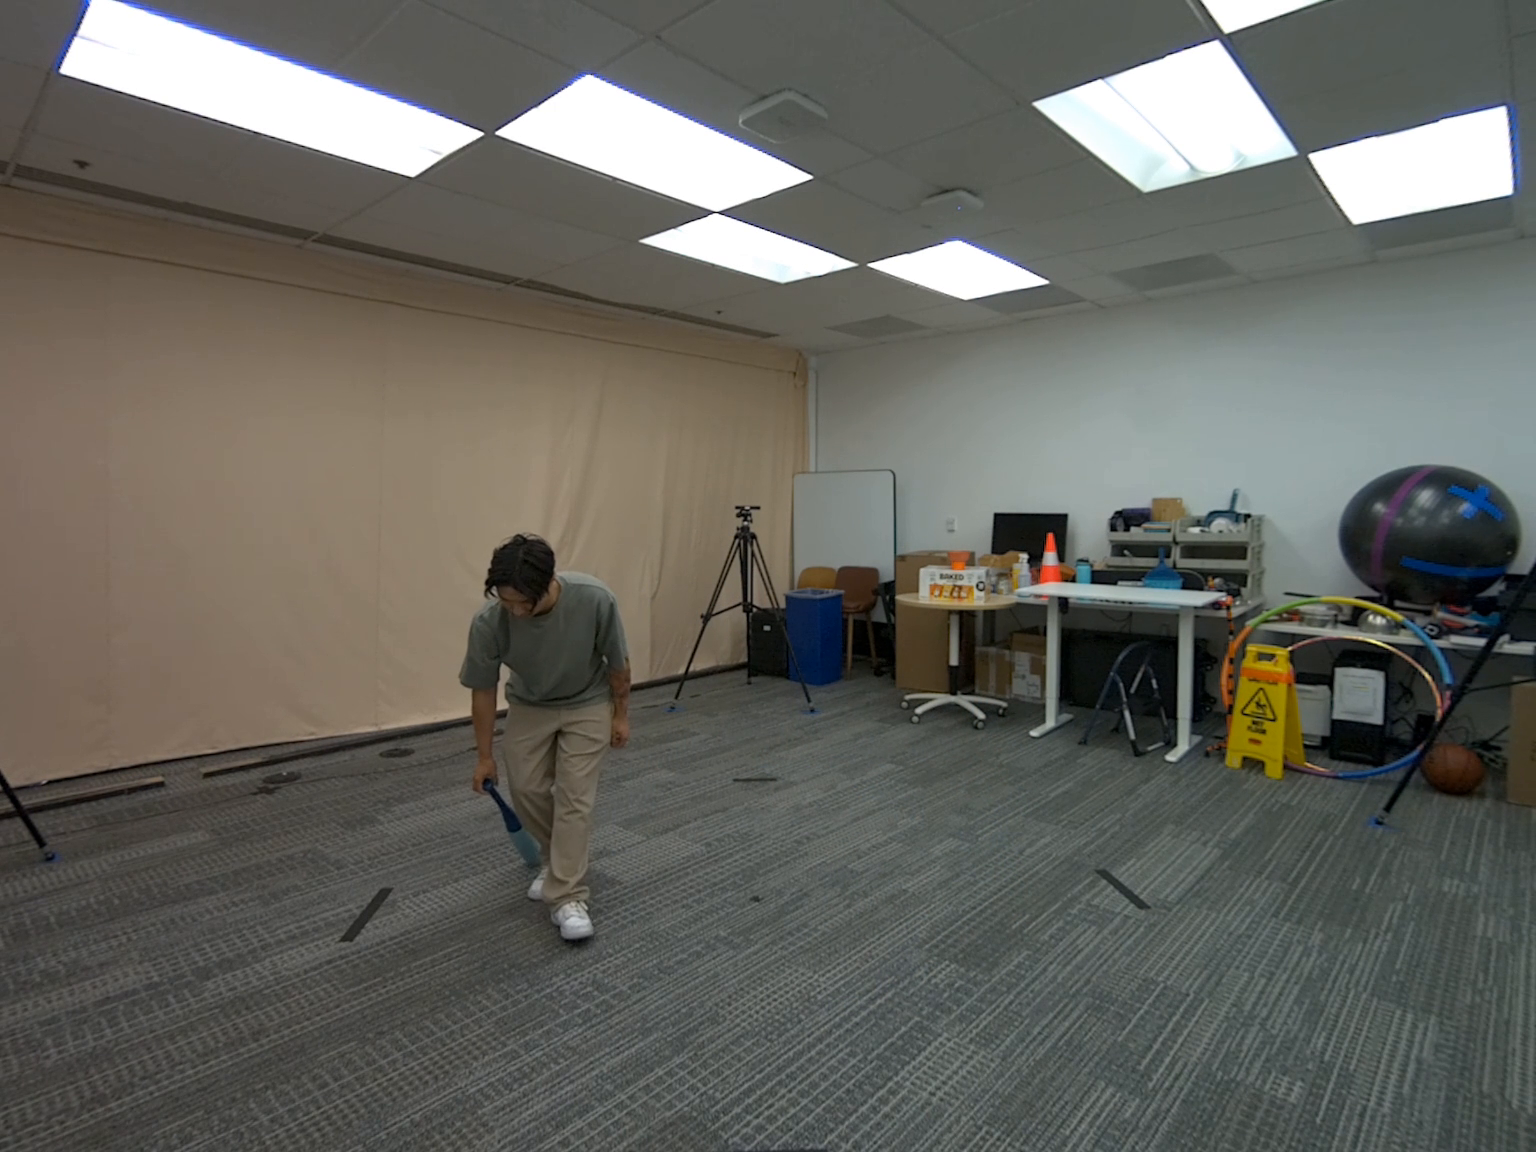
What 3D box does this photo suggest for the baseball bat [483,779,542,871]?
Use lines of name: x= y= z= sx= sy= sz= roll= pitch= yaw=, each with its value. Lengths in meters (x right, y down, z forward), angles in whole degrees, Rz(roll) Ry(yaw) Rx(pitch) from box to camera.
baseball bat: x=-0.961 y=0.922 z=3.130 sx=0.090 sy=0.528 sz=0.091 roll=-10 pitch=41 yaw=7
